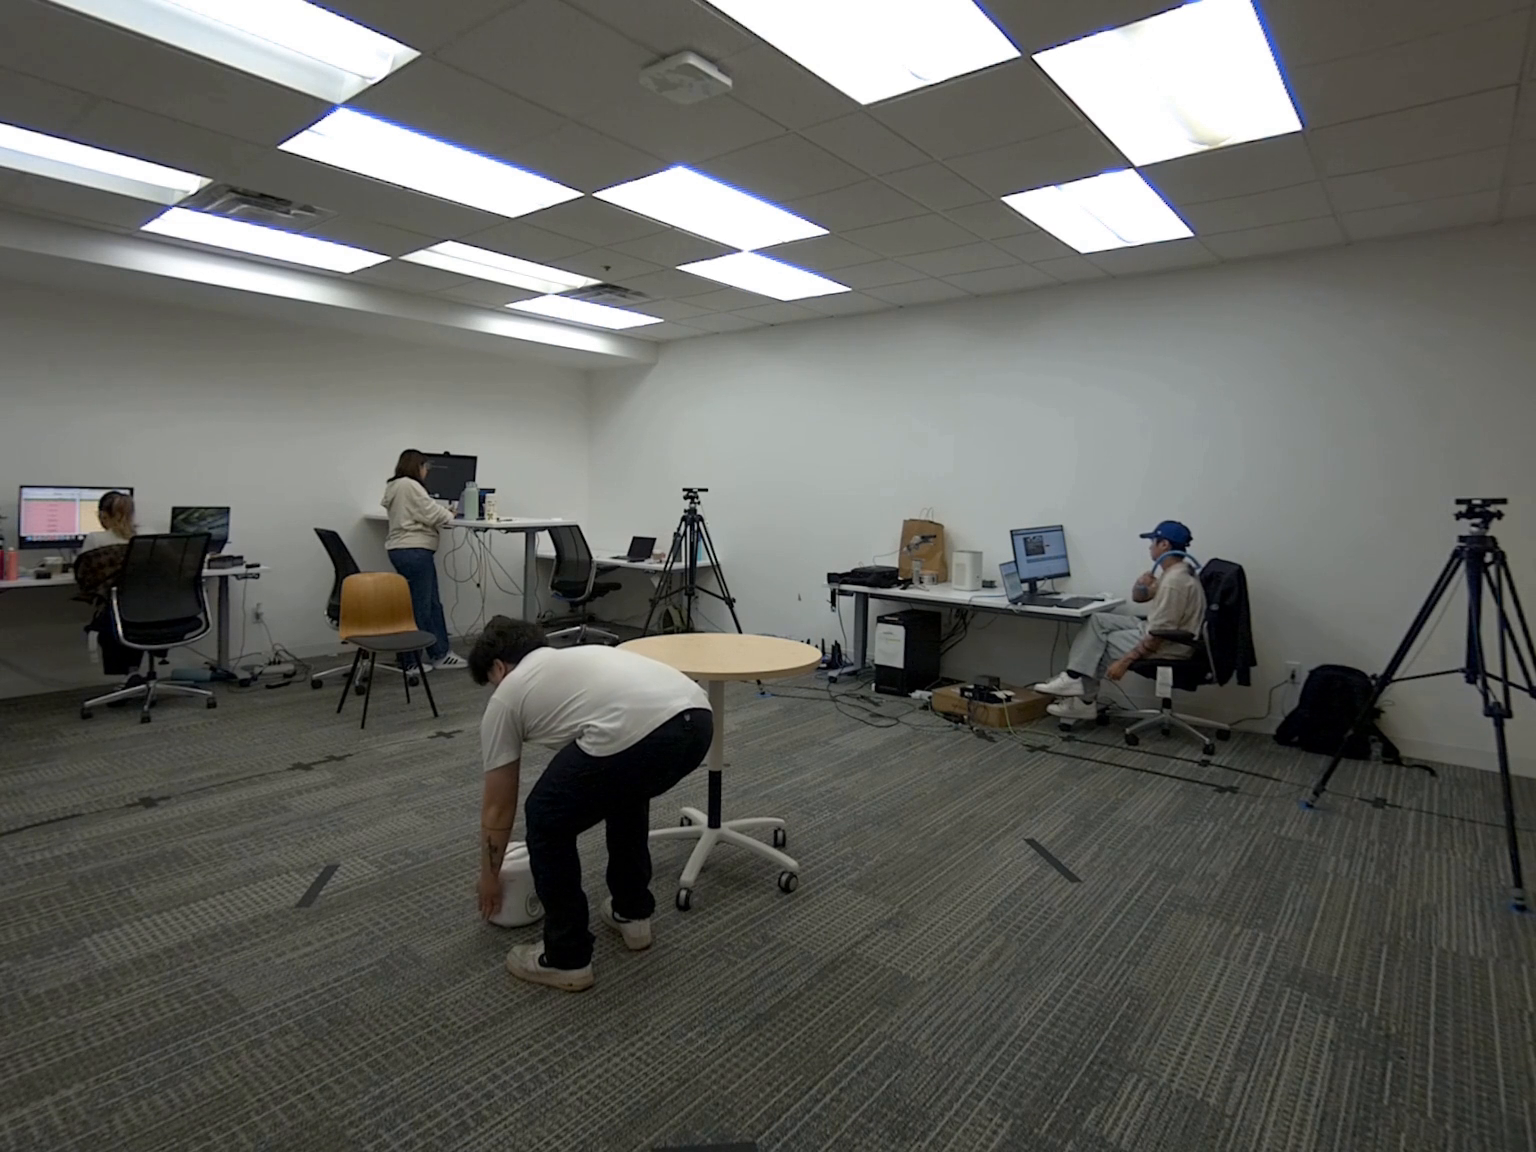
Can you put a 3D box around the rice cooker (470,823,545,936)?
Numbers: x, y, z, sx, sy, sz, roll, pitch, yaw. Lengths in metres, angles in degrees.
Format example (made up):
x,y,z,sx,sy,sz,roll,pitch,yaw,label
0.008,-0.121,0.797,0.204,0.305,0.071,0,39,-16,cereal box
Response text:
x,y,z,sx,sy,sz,roll,pitch,yaw,label
-0.817,0.978,2.748,0.225,0.232,0.214,4,5,43,rice cooker
